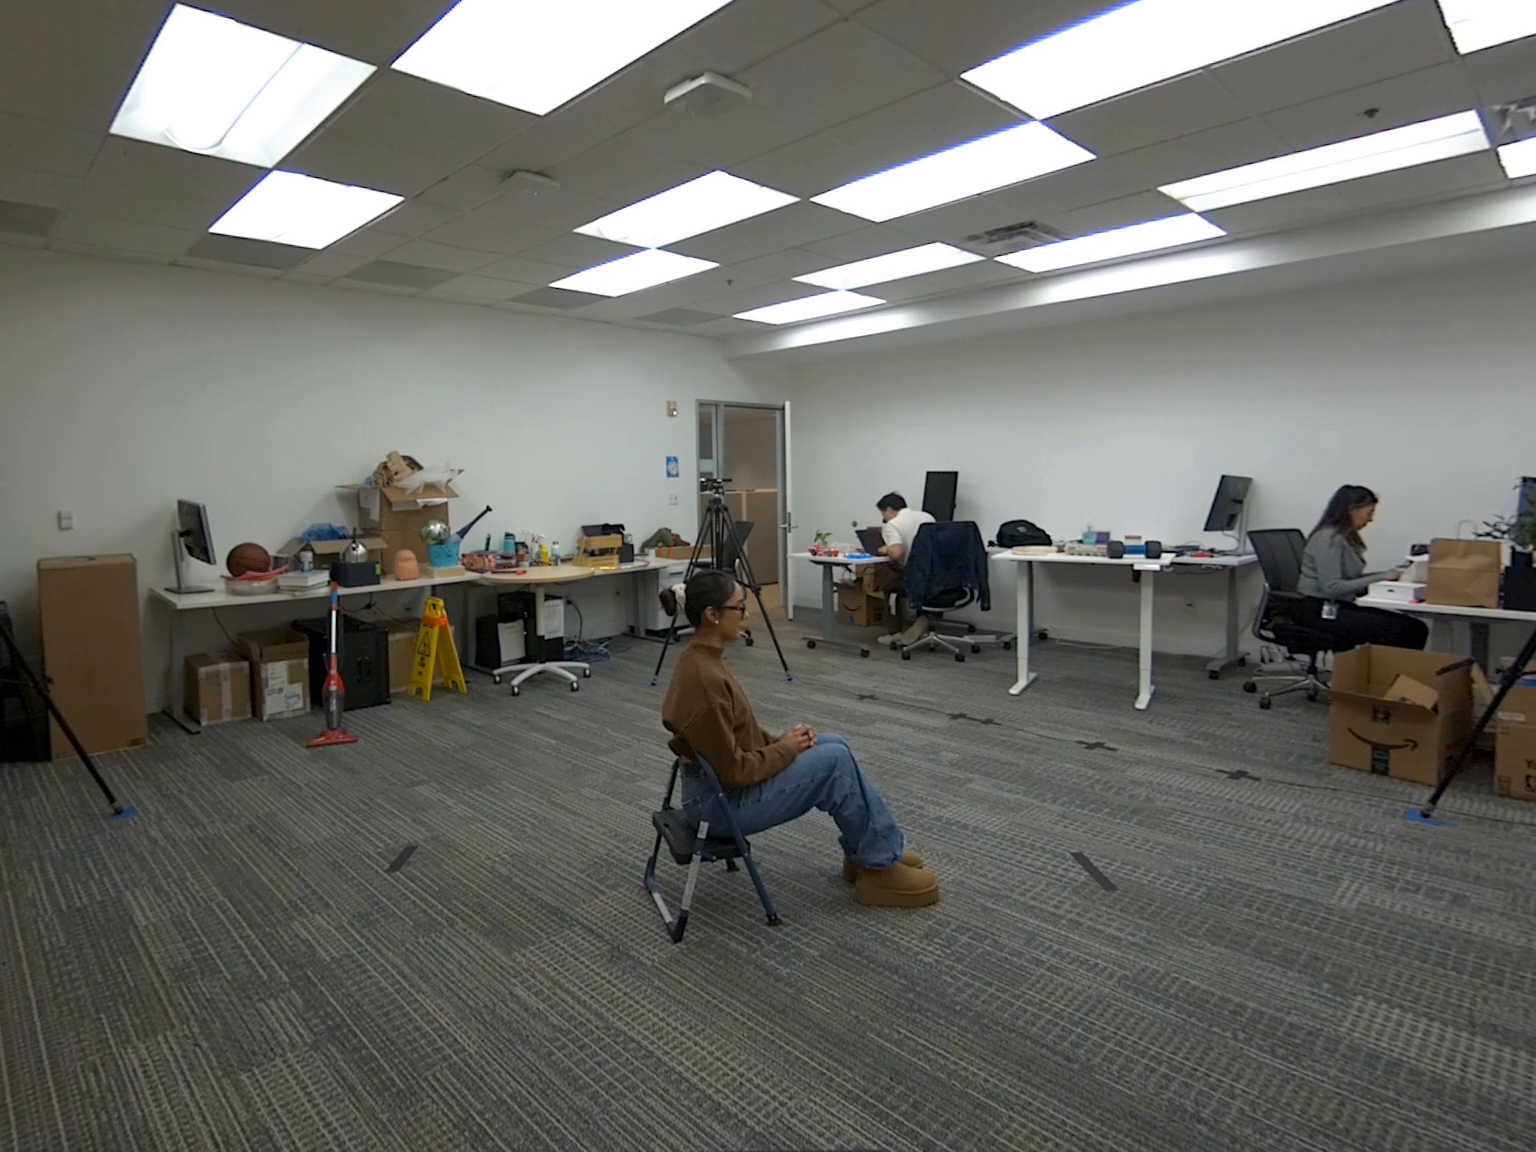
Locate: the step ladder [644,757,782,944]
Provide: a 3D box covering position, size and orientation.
[{"bbox_3d":[-0.199,0.785,2.805,0.343,0.604,0.440,-3,4,-21],"label":"step ladder"}]
